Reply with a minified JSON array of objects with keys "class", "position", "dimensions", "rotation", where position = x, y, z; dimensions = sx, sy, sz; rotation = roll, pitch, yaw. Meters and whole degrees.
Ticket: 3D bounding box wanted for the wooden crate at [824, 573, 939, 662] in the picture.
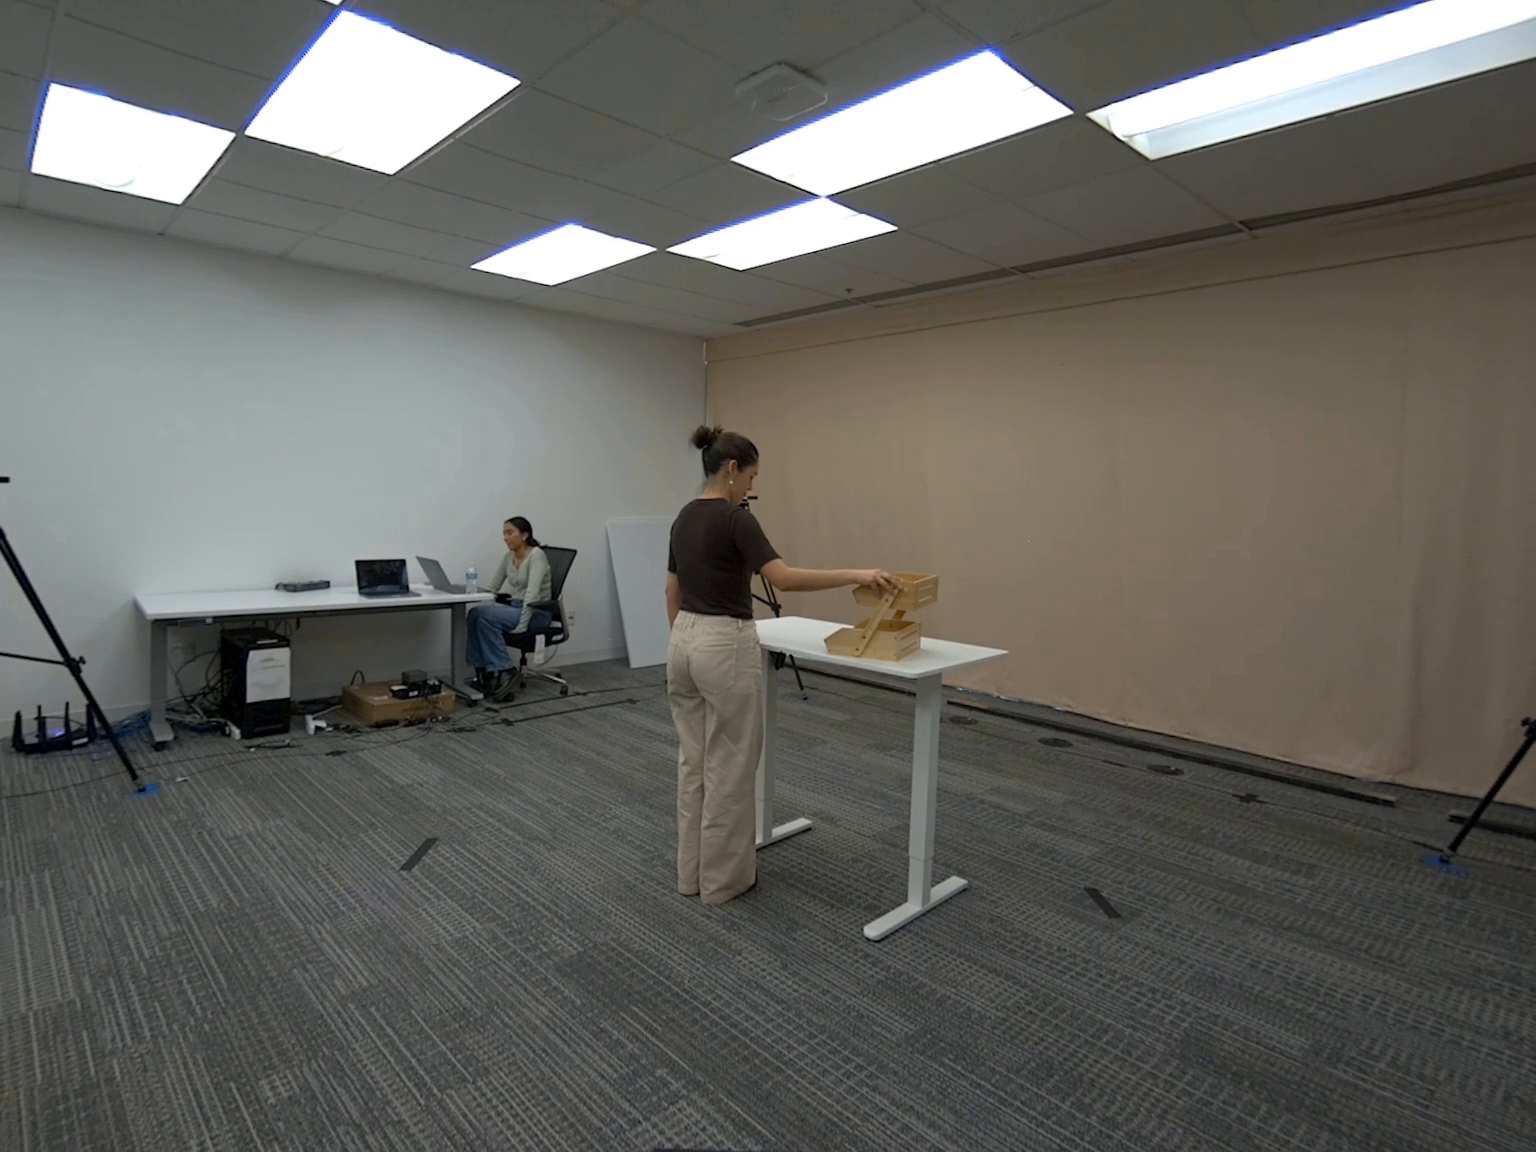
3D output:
[{"class":"wooden crate","position":[0.376,0.125,2.852],"dimensions":[0.308,0.272,0.319],"rotation":[5,5,25]}]
